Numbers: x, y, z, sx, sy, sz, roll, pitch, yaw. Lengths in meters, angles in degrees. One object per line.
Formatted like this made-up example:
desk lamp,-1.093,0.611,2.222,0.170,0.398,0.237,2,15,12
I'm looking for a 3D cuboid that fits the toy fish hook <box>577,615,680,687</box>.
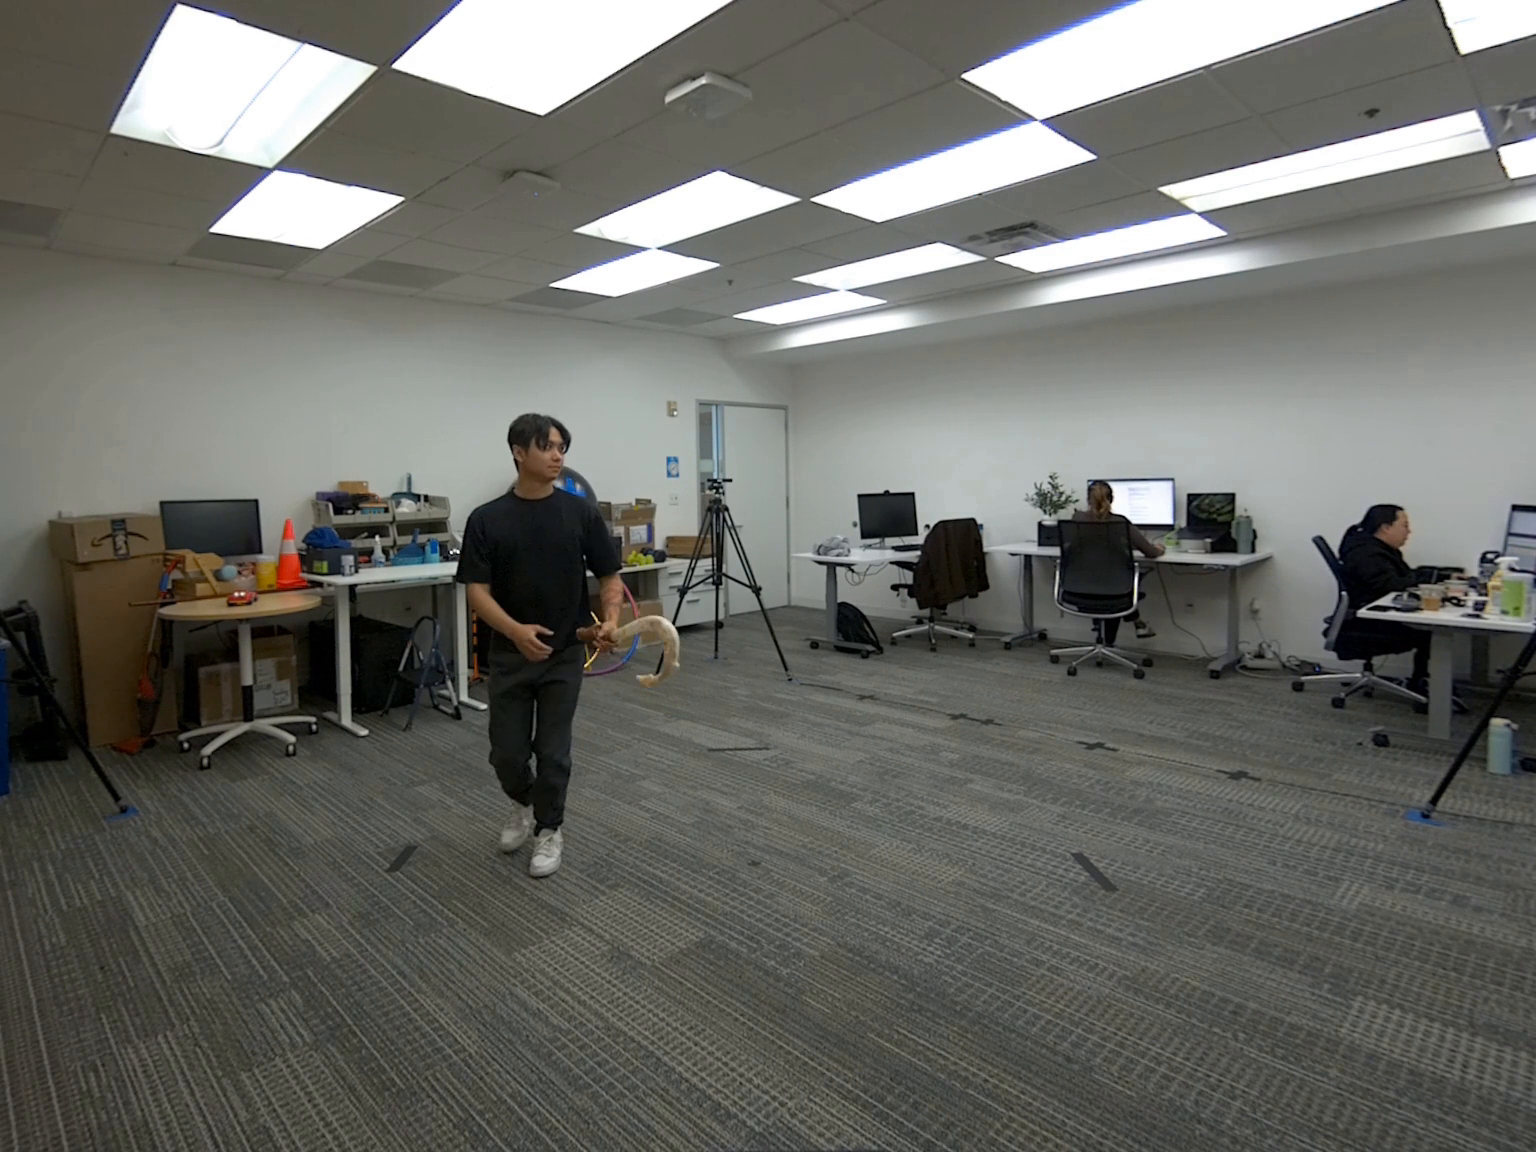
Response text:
toy fish hook,-0.470,0.255,2.805,0.519,0.226,0.047,-6,-11,43
